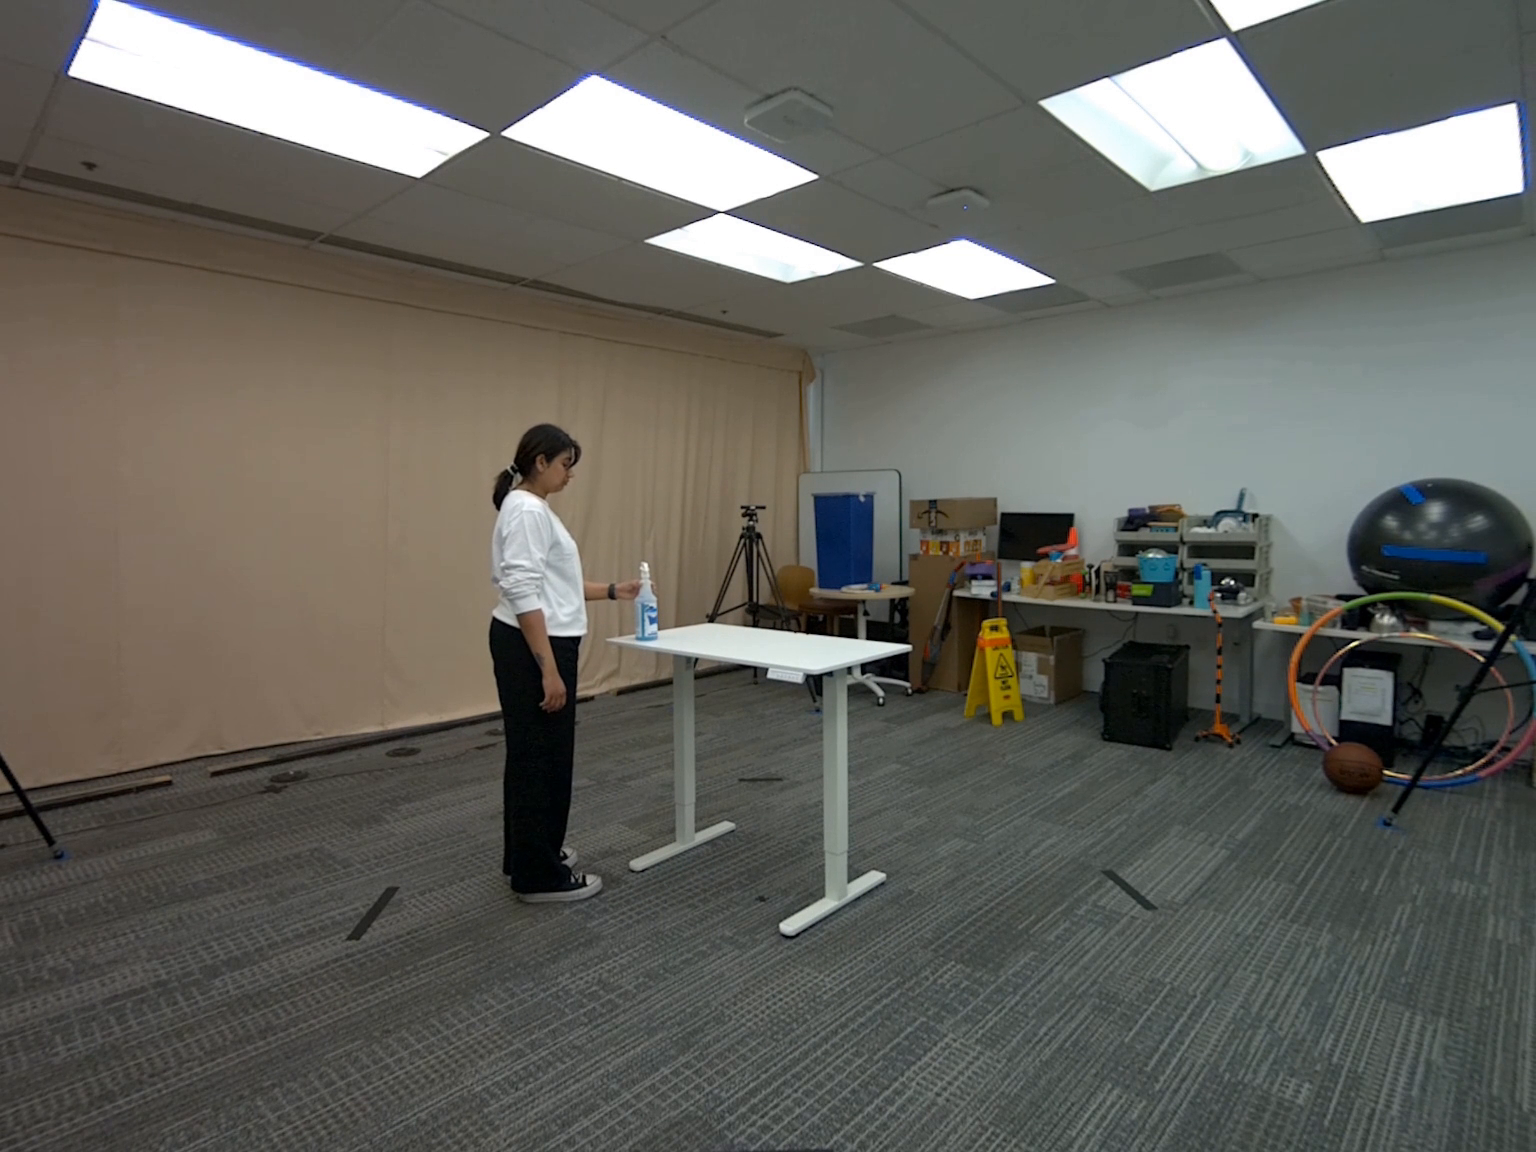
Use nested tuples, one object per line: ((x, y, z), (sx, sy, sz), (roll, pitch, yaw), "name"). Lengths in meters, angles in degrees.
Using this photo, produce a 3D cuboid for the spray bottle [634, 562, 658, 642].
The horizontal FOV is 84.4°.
((-0.464, 0.098, 3.241), (0.088, 0.297, 0.089), (1, 3, 9), "spray bottle")
